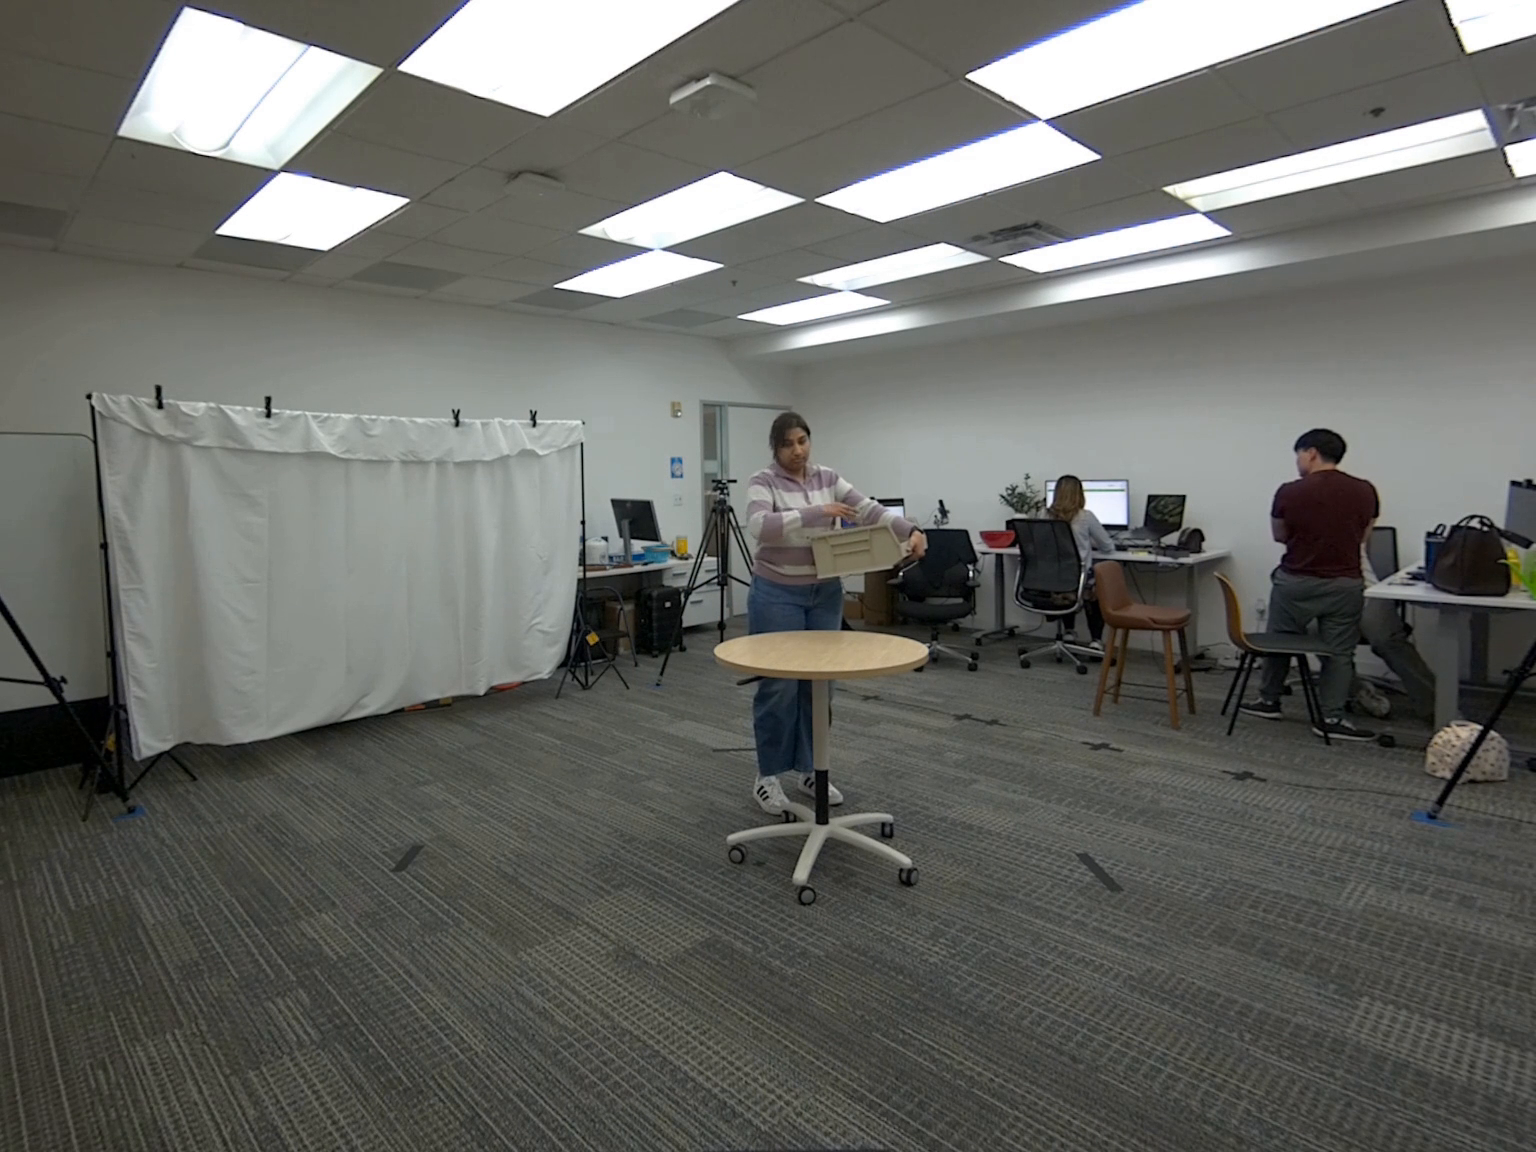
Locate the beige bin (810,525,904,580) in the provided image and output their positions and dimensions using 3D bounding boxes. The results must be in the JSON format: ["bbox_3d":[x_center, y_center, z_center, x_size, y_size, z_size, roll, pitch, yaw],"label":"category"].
[{"bbox_3d":[0.426,-0.119,3.568,0.384,0.189,0.414,-9,2,26],"label":"beige bin"}]
